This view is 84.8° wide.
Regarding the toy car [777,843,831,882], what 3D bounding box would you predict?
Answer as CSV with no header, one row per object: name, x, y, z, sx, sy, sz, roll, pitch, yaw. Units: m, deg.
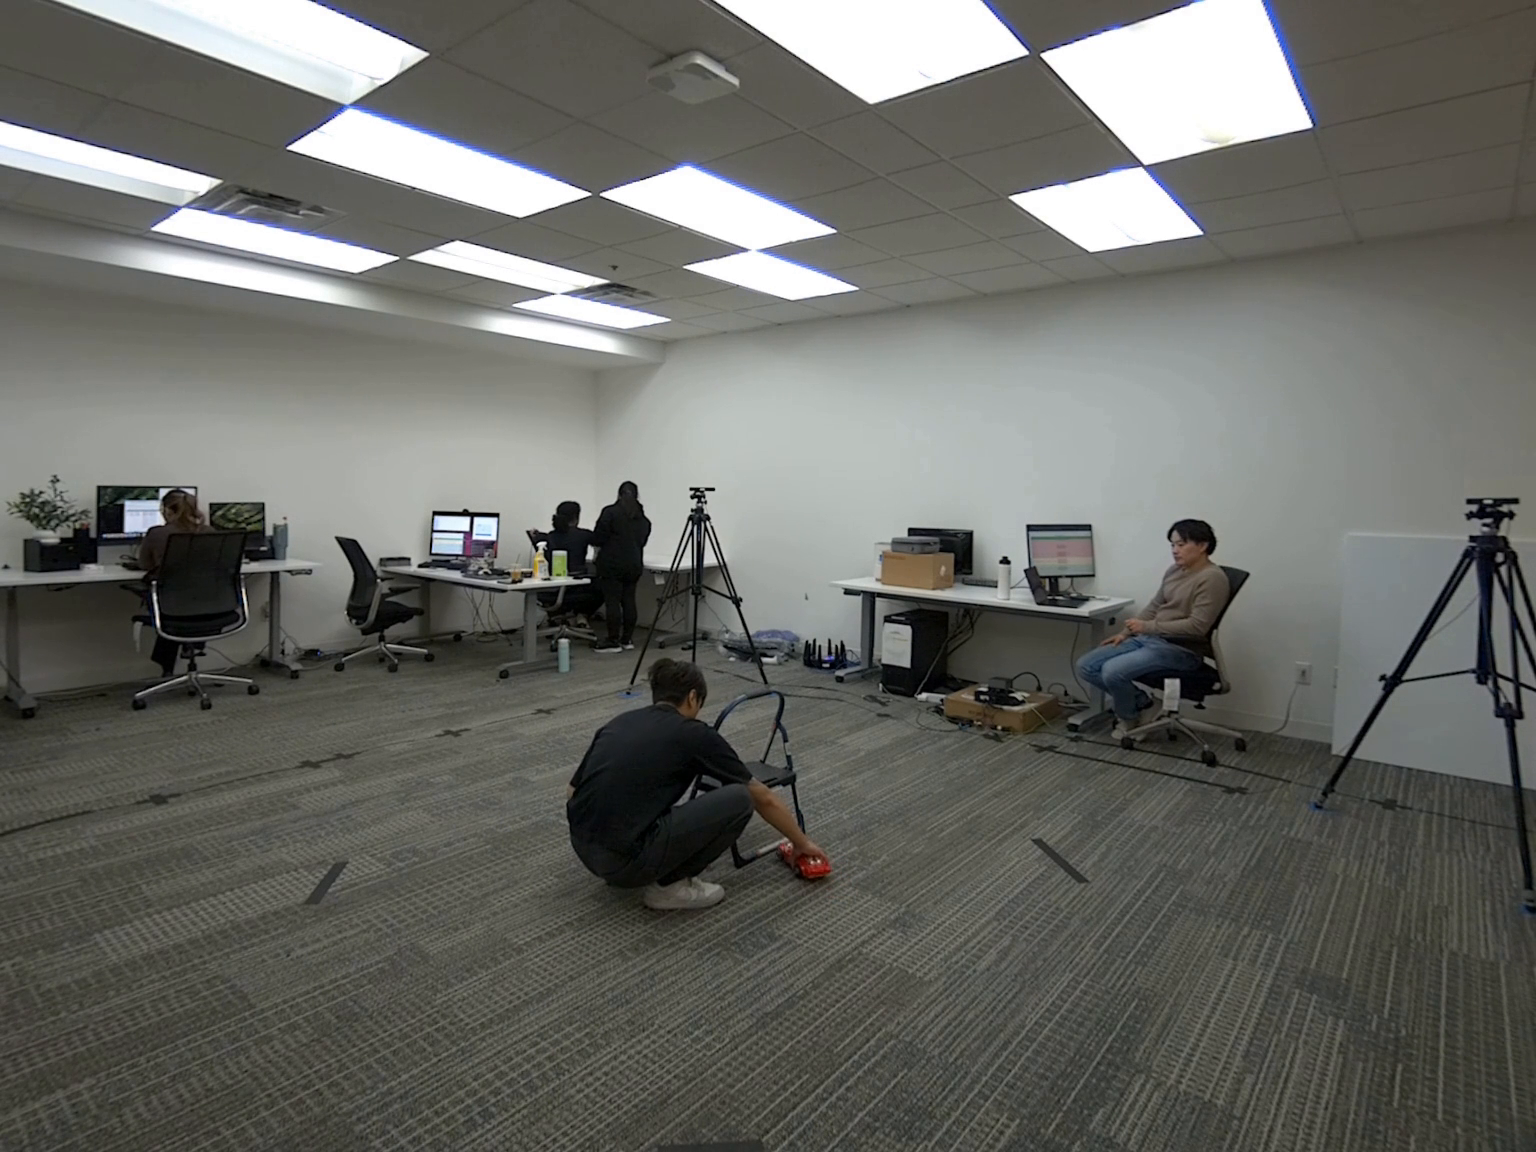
toy car,0.124,1.043,3.104,0.127,0.083,0.261,-1,3,-24
